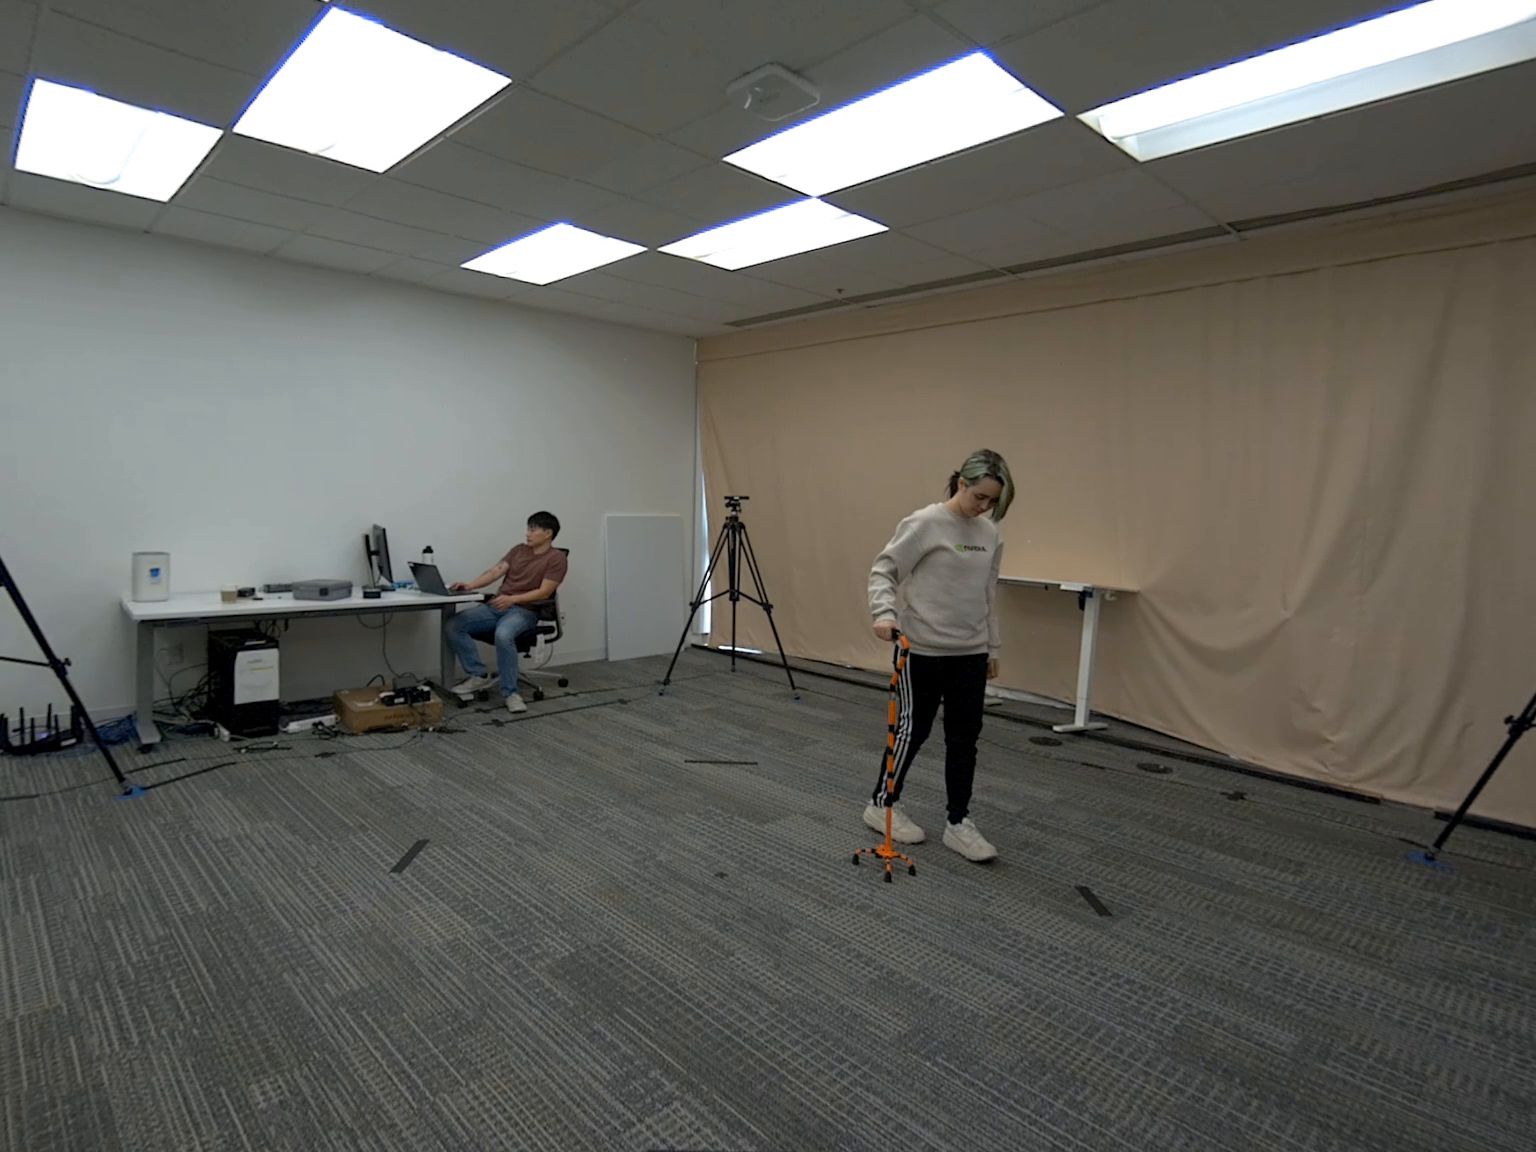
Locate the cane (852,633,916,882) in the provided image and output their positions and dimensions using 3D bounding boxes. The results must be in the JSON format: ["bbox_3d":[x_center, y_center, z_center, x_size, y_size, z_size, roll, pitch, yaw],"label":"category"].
[{"bbox_3d":[0.450,0.662,3.166,0.148,0.906,0.211,1,3,-32],"label":"cane"}]
